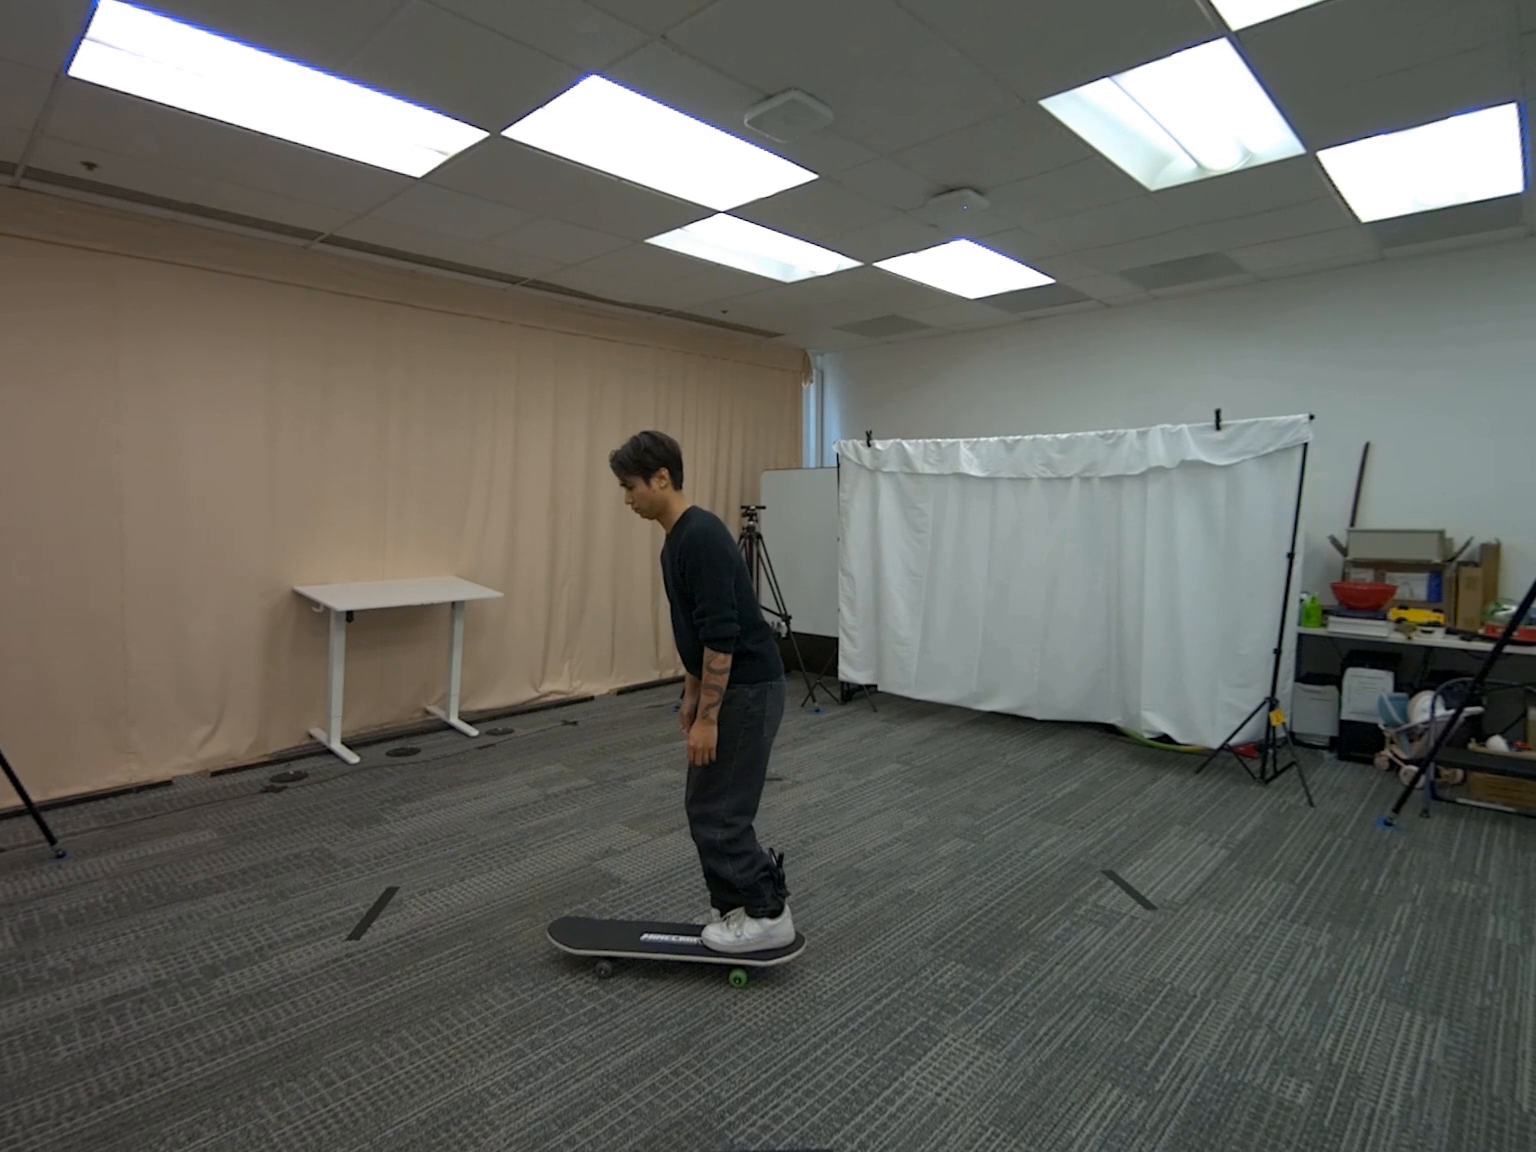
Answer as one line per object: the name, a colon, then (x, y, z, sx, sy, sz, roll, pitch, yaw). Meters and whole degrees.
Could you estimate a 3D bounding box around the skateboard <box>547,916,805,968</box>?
skateboard: (-0.287, 1.135, 2.525, 0.791, 0.110, 0.192, 0, 5, 7)
